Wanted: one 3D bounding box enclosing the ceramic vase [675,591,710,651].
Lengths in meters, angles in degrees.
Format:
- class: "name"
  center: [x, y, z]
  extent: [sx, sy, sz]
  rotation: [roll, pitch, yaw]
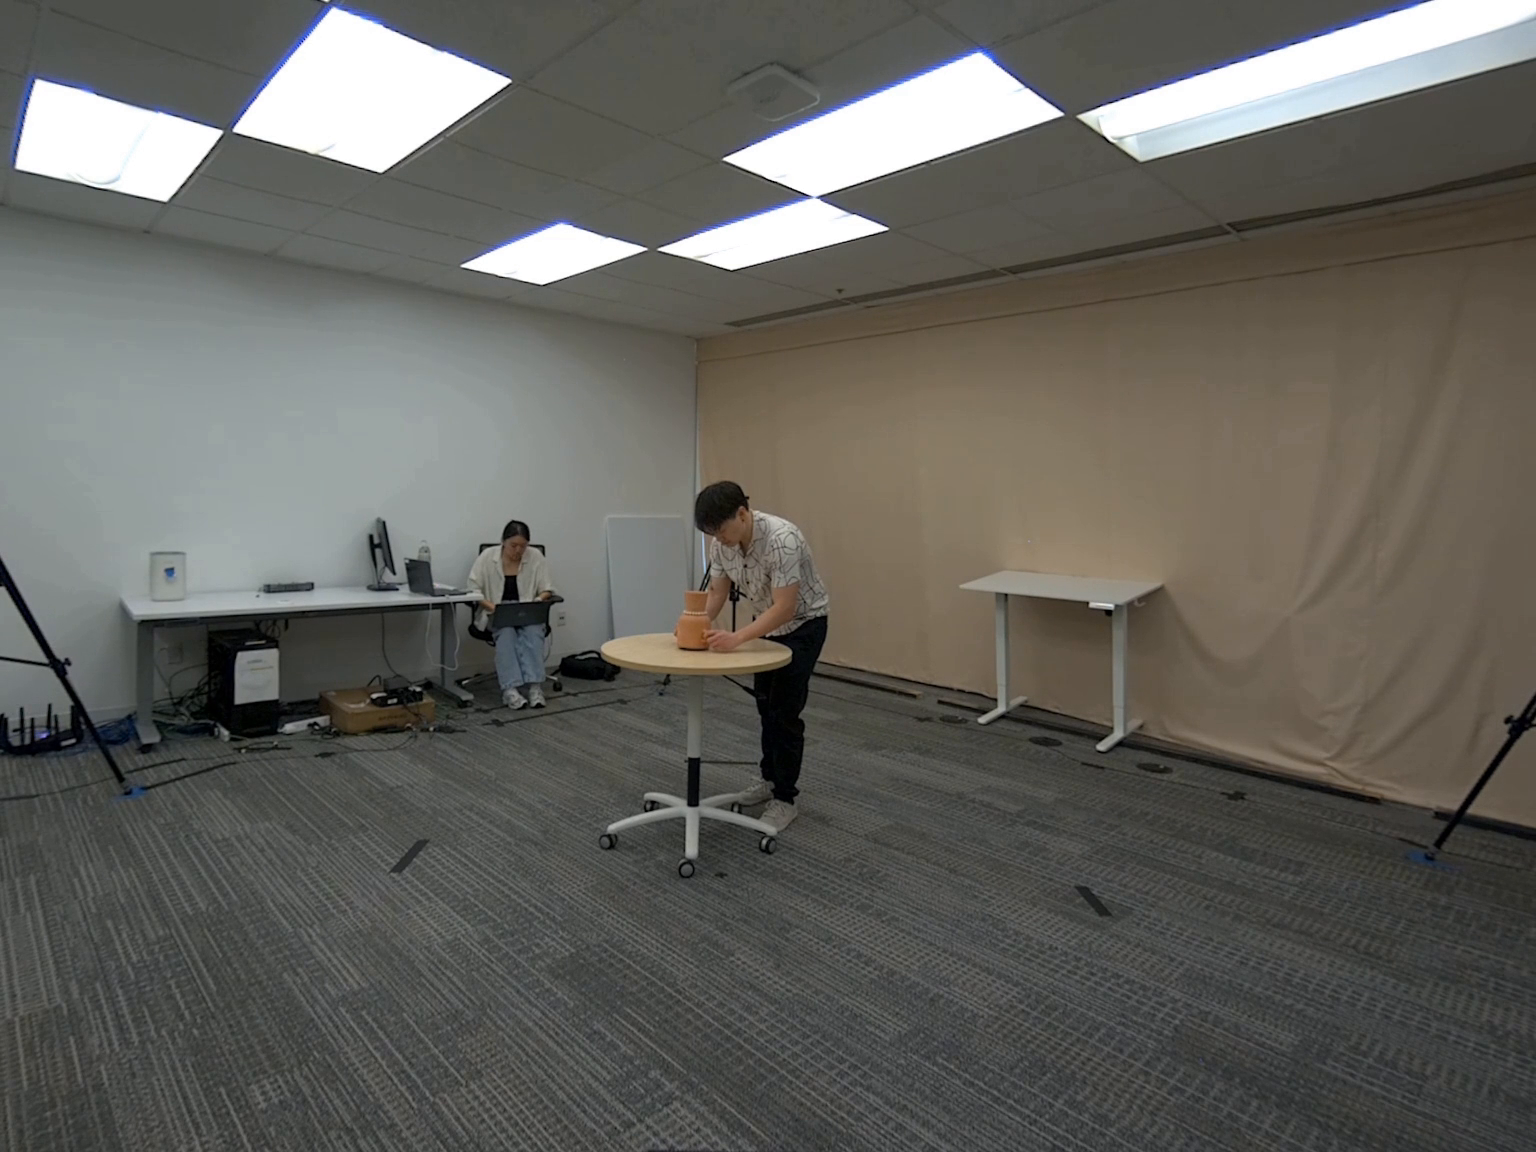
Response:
- class: "ceramic vase"
  center: [-0.297, 0.175, 3.386]
  extent: [0.160, 0.220, 0.133]
  rotation: [4, 0, 10]
